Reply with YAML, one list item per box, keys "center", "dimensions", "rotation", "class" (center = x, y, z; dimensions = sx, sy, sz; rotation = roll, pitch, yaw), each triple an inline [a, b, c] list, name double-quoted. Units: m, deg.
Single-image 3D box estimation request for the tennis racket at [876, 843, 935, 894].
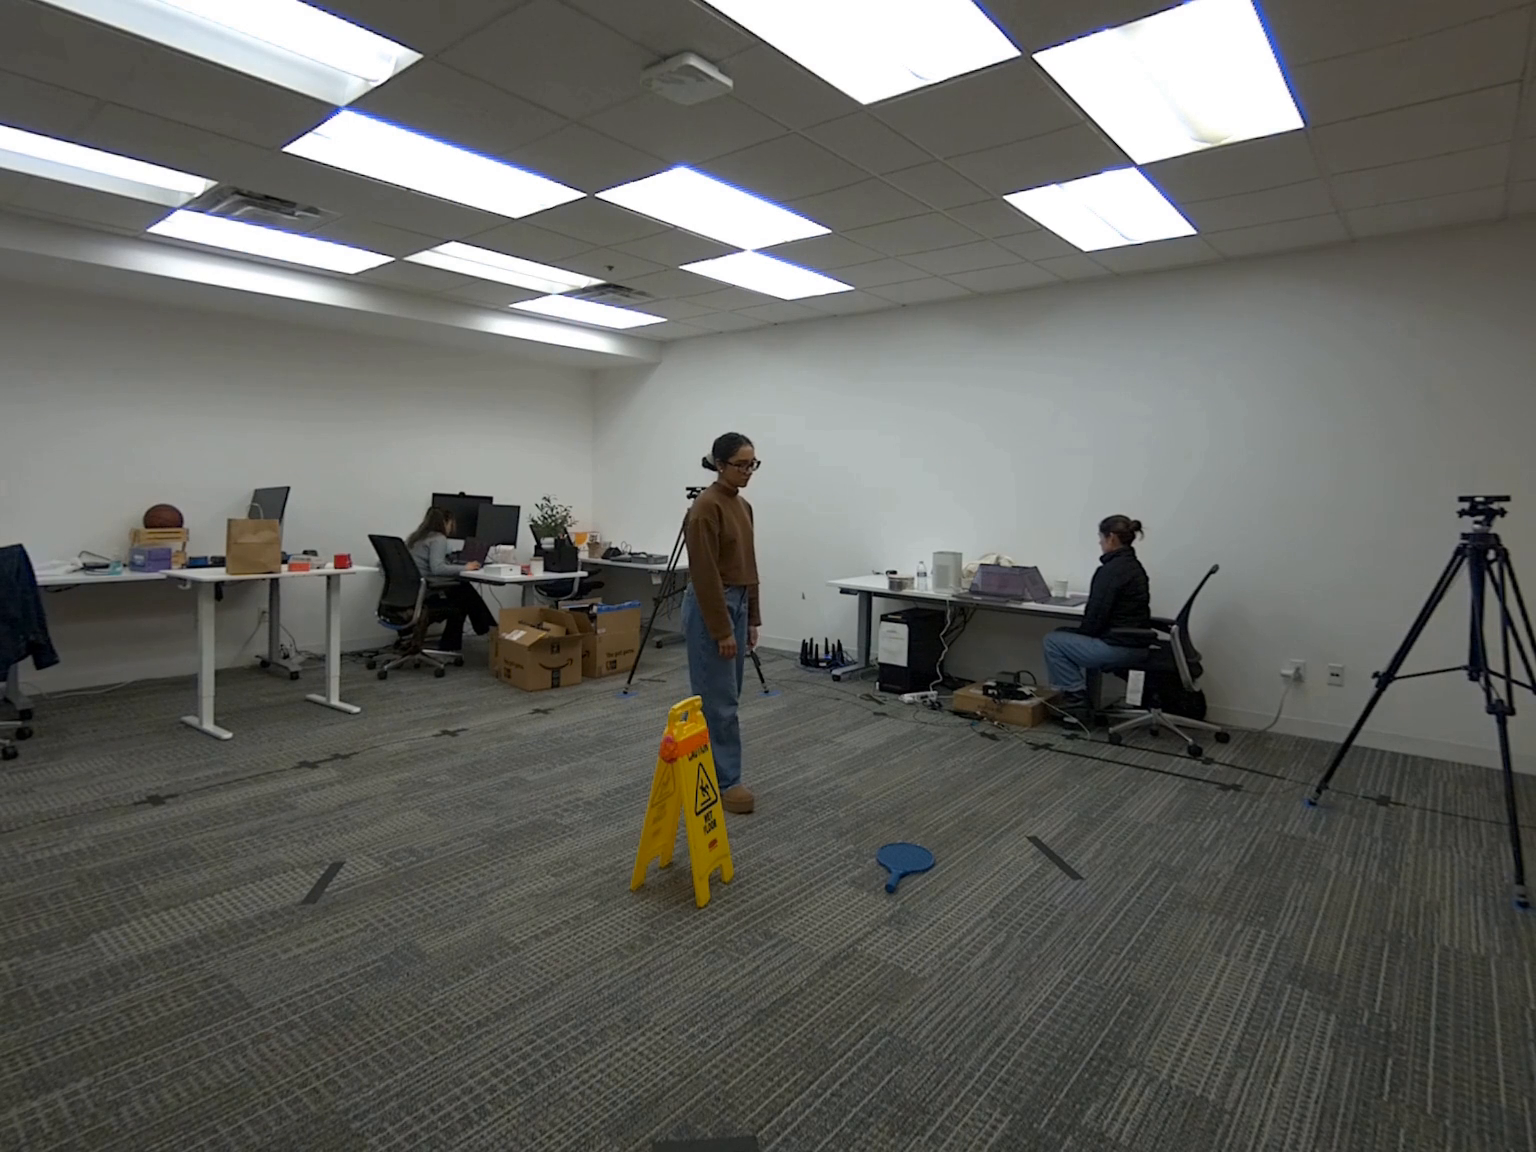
- center: [0.476, 1.062, 3.145]
  dimensions: [0.219, 0.031, 0.424]
  rotation: [3, 5, 23]
  class: "tennis racket"
